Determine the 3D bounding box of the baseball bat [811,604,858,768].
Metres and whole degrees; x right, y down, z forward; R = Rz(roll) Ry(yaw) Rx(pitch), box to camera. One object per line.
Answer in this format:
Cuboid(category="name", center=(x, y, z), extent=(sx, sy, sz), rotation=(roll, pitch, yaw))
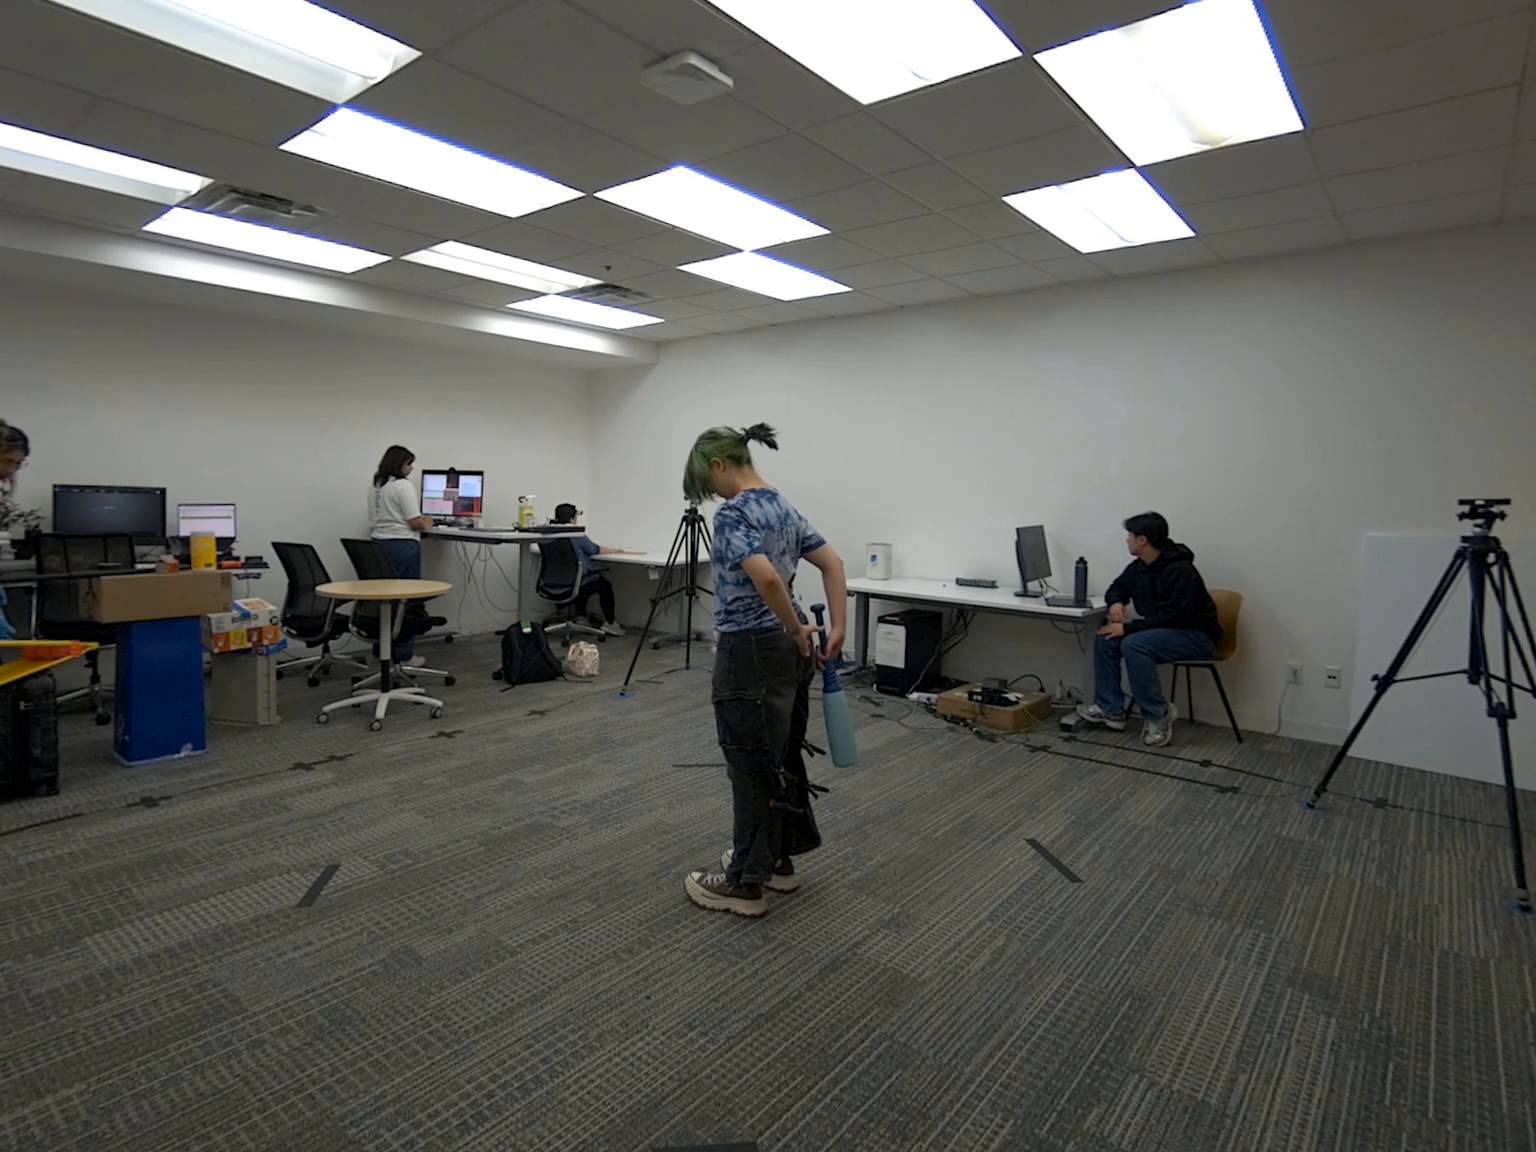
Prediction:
Cuboid(category="baseball bat", center=(0.207, 0.362, 2.826), extent=(0.089, 0.544, 0.089), rotation=(-10, -1, -2))
